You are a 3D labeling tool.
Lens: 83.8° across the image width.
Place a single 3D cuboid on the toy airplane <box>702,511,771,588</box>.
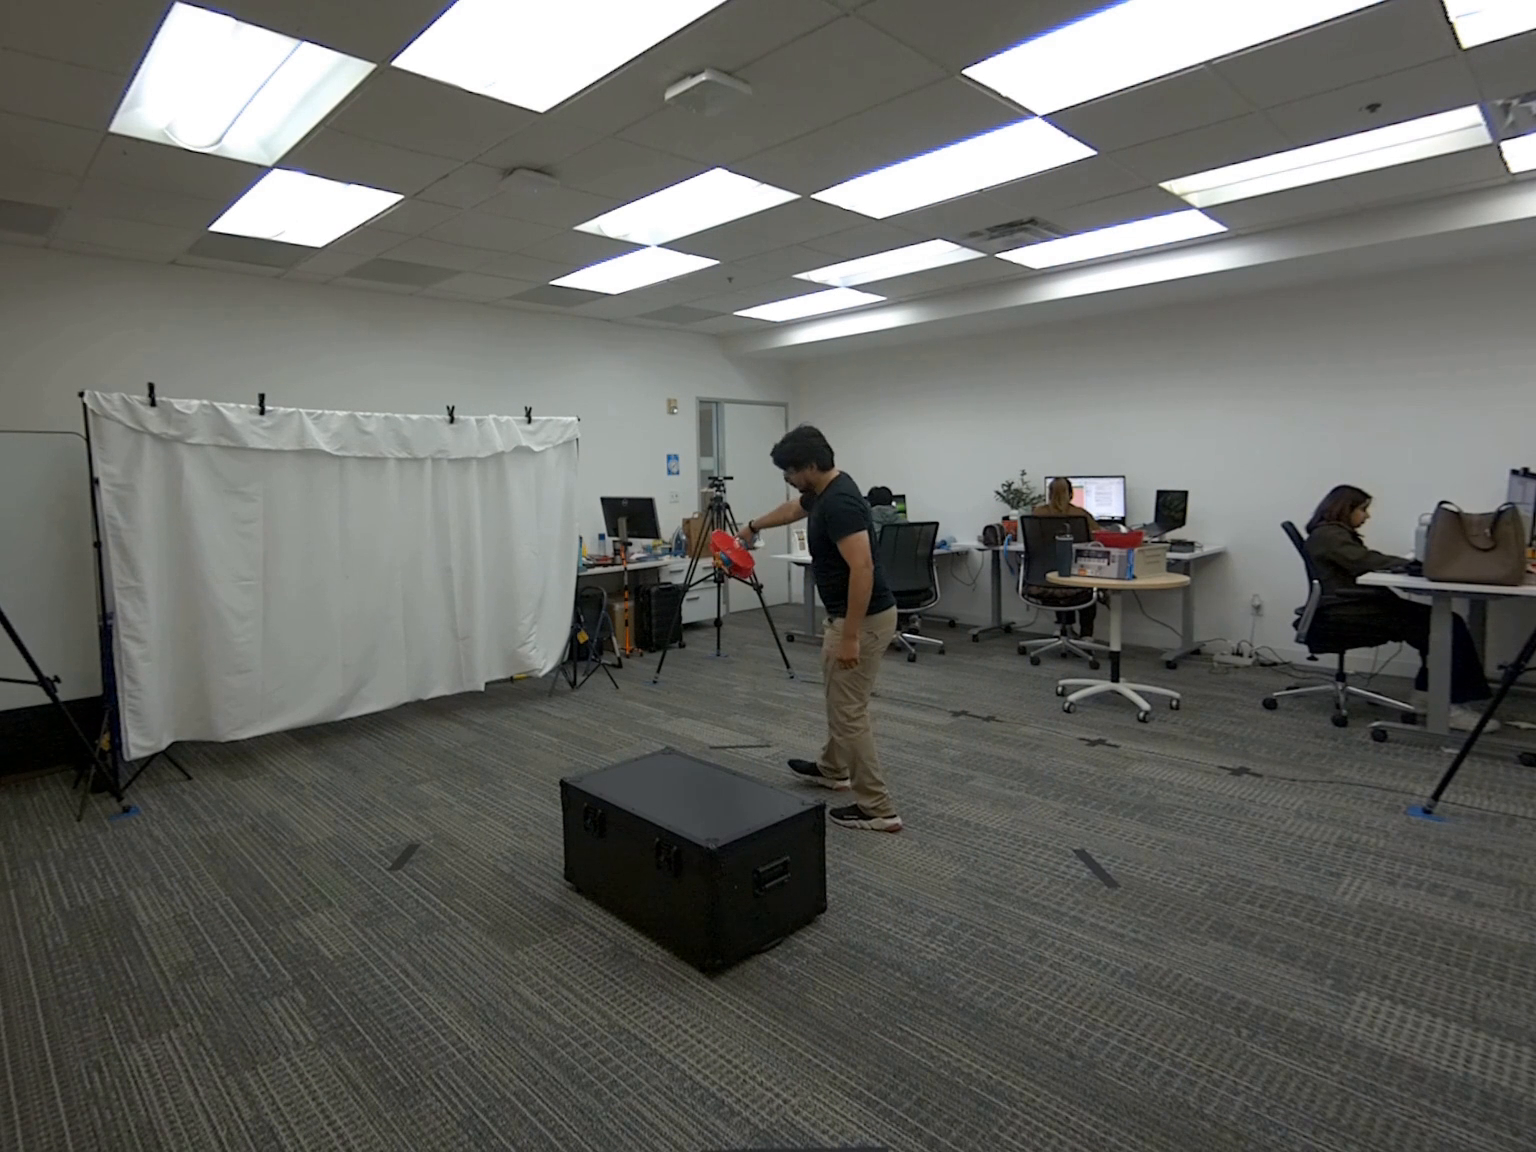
[{"bbox_3d":[-0.147,-0.127,4.018,0.253,0.262,0.153,14,-23,7],"label":"toy airplane"}]
